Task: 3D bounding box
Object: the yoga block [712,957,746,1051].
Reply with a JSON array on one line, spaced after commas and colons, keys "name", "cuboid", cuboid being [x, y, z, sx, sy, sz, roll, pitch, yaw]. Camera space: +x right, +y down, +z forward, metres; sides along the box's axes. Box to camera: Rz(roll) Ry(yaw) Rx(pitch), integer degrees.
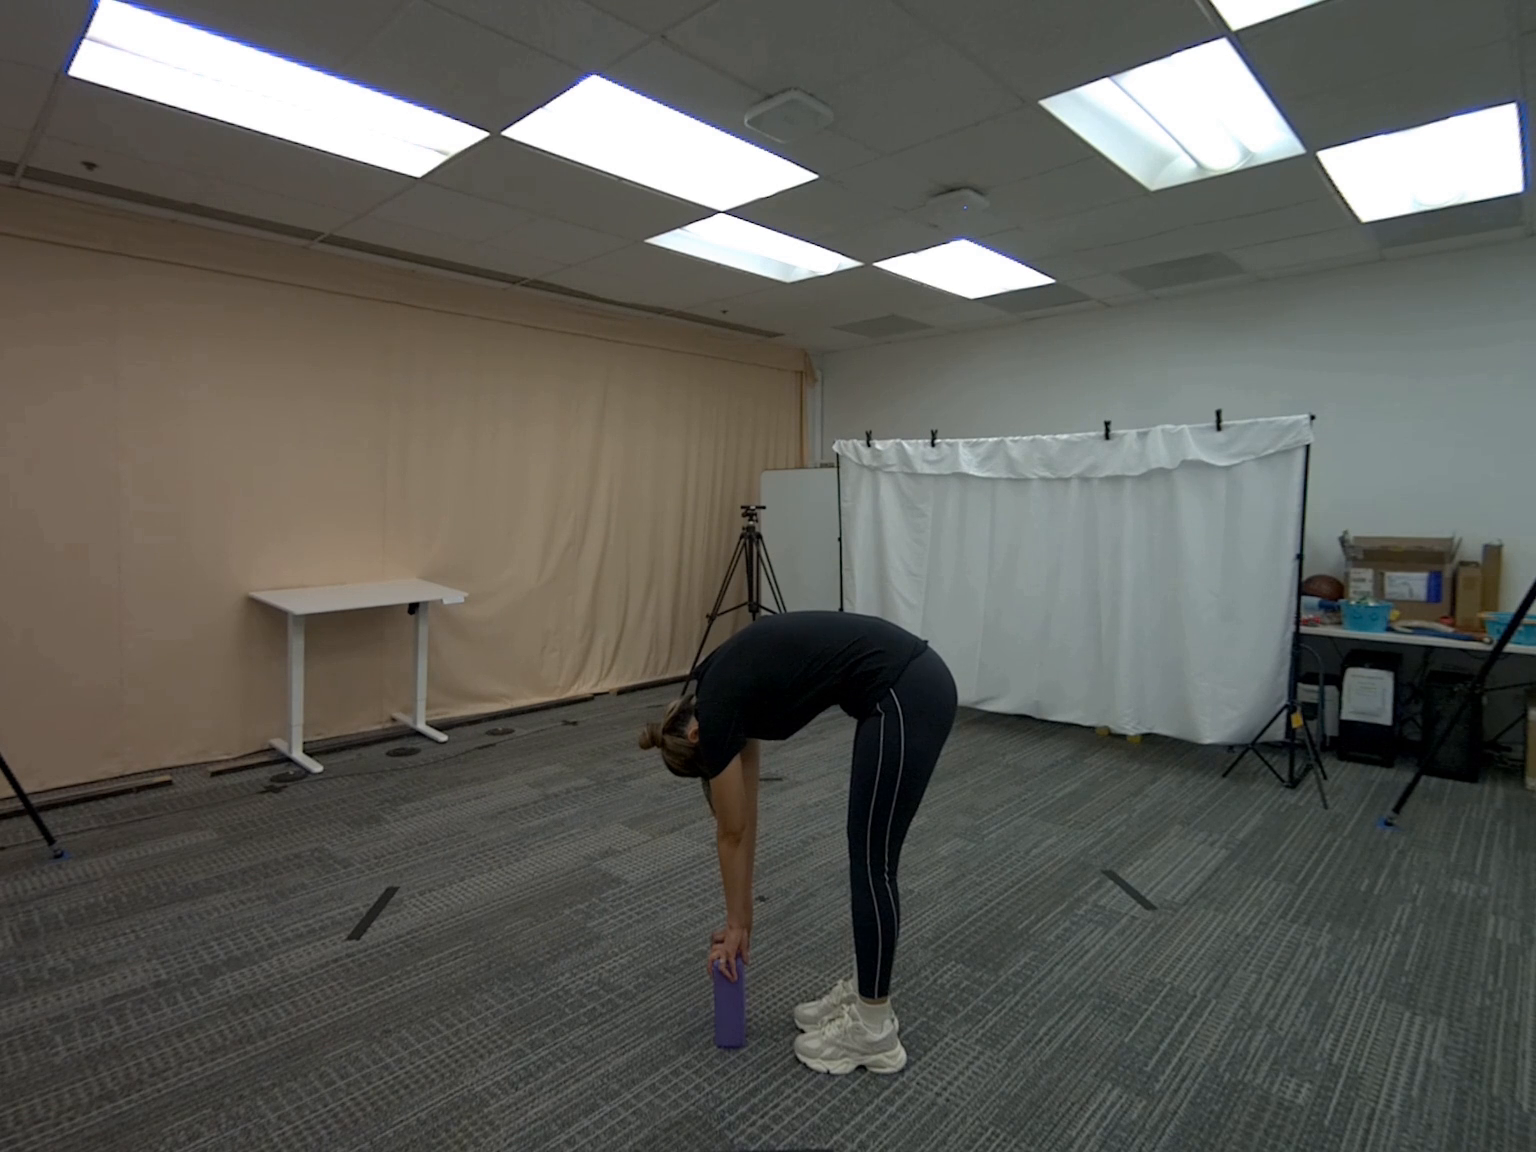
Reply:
[{"name": "yoga block", "cuboid": [-0.099, 1.102, 2.223, 0.076, 0.229, 0.149, 0, 2, 0]}]
